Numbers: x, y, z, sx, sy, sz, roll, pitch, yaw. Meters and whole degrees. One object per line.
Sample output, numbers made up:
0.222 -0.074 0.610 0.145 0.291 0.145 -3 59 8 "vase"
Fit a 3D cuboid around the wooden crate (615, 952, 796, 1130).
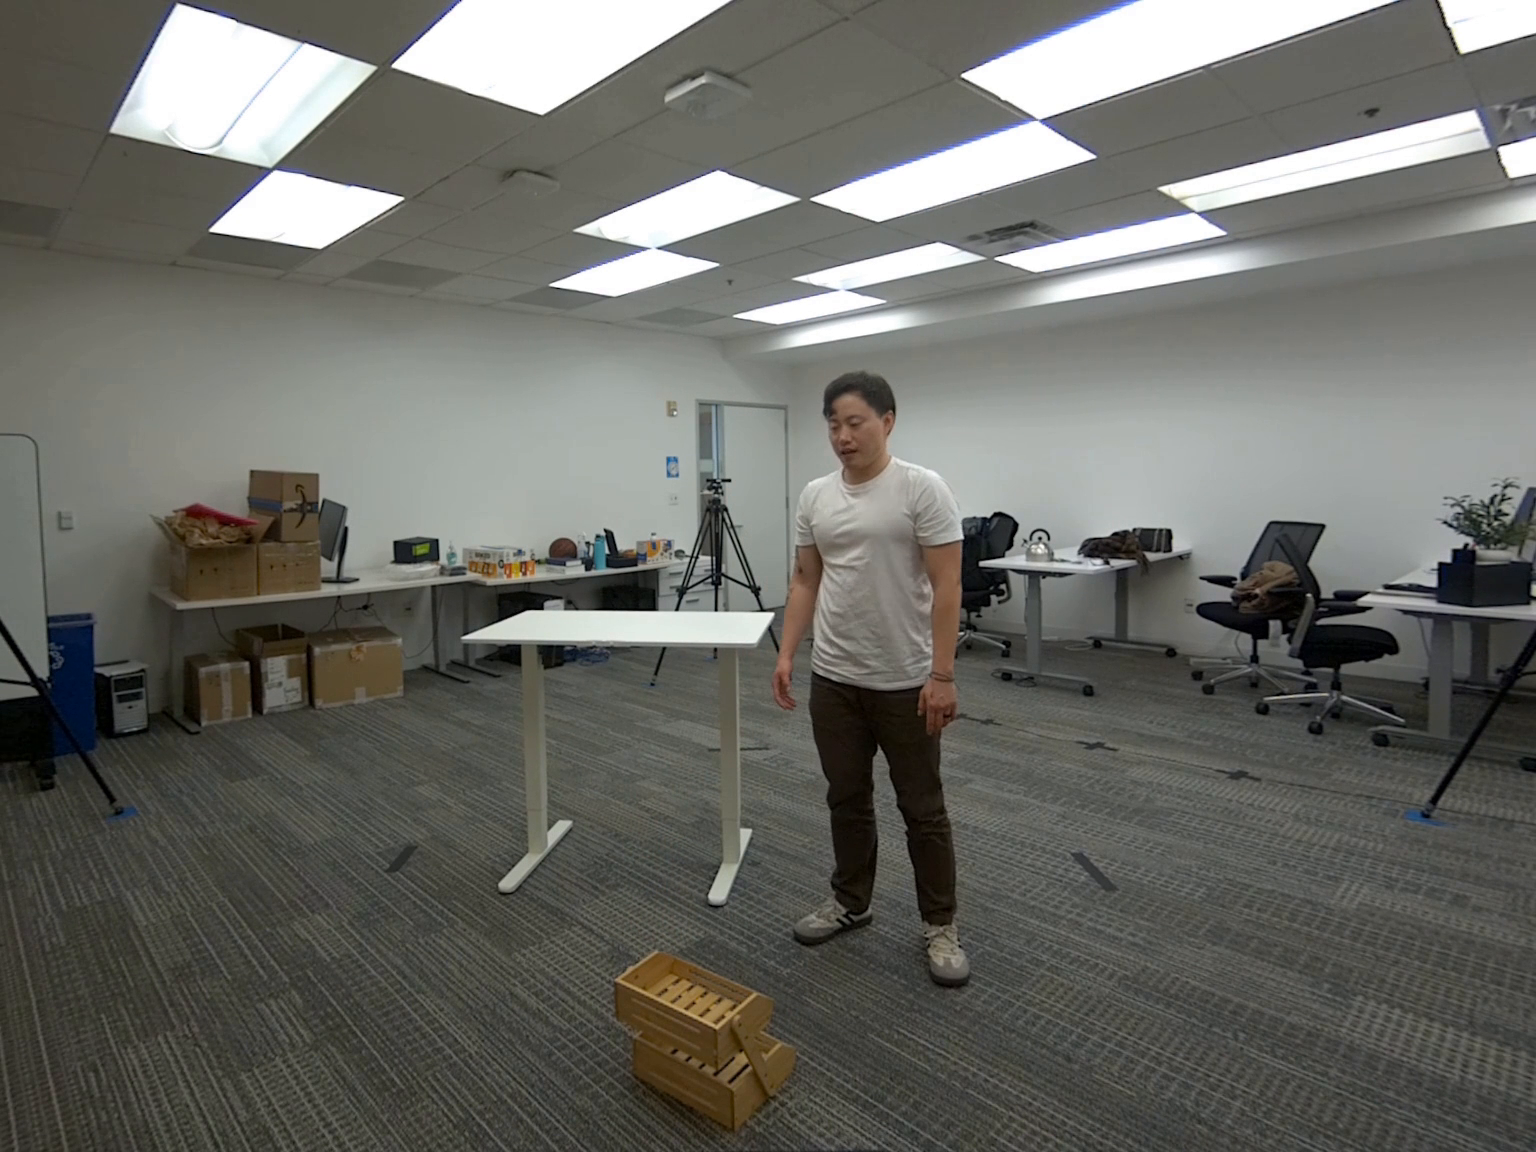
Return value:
-0.134 1.041 1.997 0.334 0.272 0.295 2 8 36 "wooden crate"
